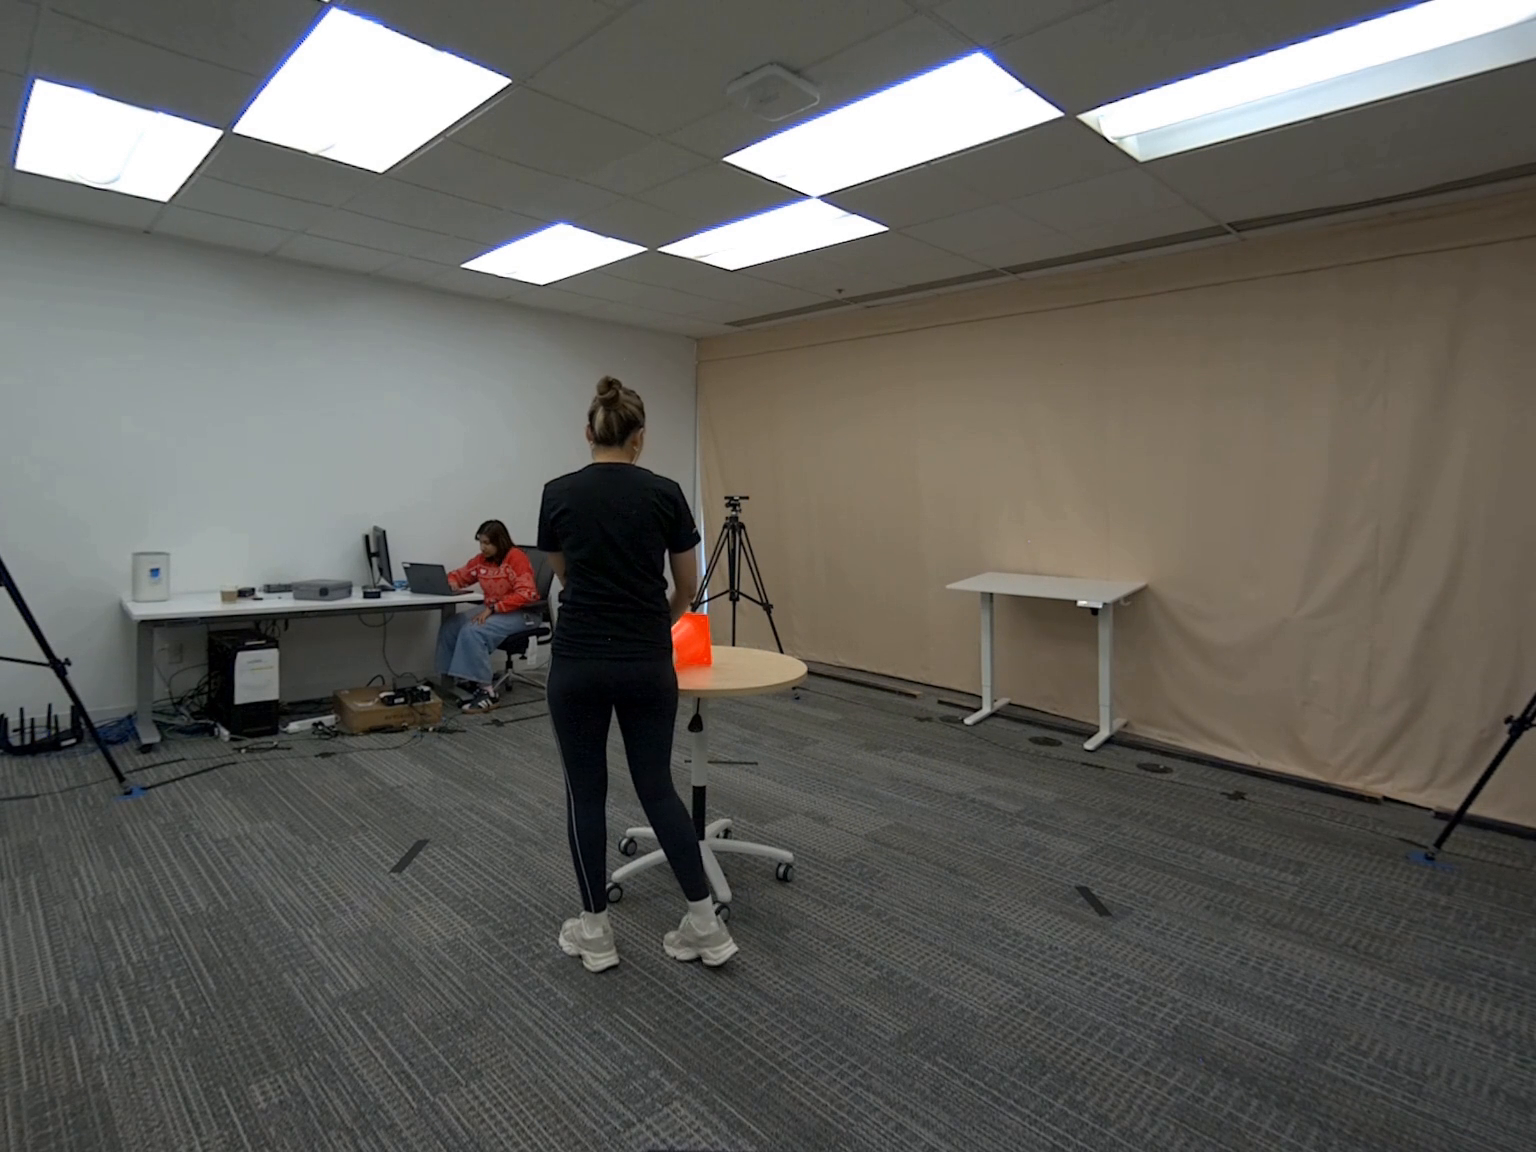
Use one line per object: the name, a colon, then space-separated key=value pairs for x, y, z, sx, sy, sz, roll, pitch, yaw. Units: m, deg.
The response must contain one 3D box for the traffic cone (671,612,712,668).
traffic cone: x=-0.382 y=0.289 z=2.882 sx=0.207 sy=0.202 sz=0.381 roll=4 pitch=21 yaw=25
